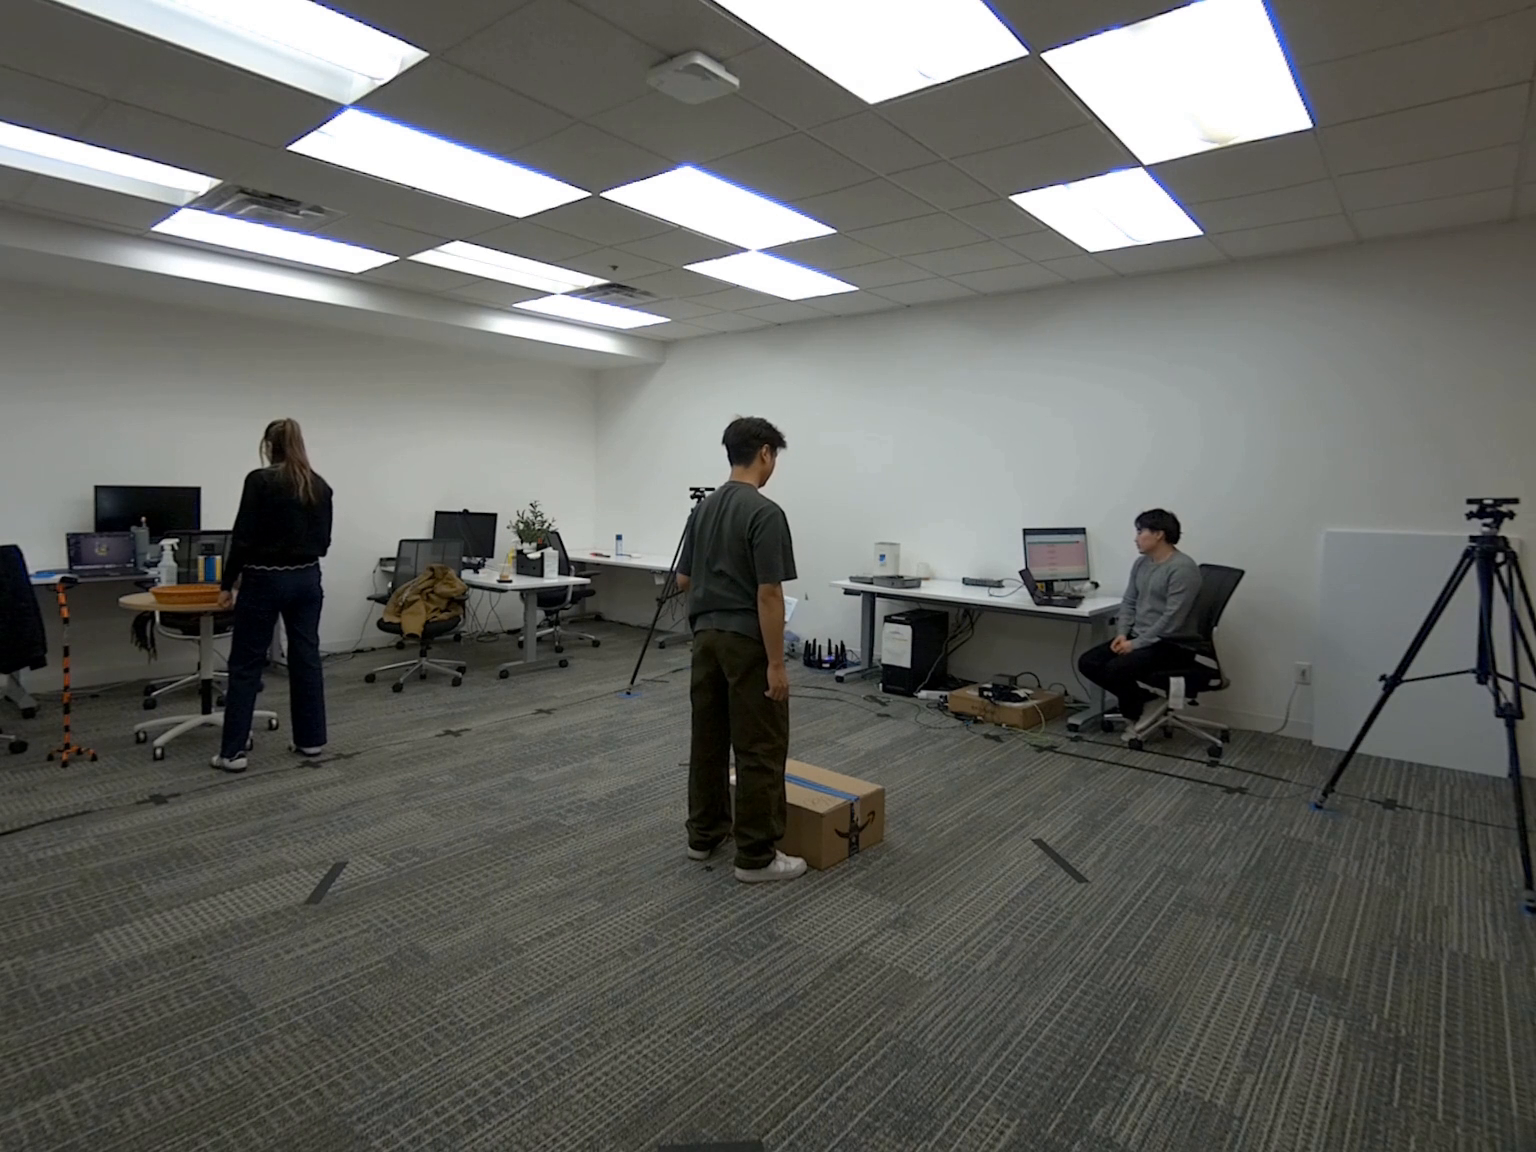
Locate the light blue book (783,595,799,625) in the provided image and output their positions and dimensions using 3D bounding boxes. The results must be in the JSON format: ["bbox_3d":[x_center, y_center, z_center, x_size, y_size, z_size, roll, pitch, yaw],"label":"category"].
[{"bbox_3d":[0.012,0.136,3.414,0.193,0.058,0.262,13,18,4],"label":"light blue book"}]
